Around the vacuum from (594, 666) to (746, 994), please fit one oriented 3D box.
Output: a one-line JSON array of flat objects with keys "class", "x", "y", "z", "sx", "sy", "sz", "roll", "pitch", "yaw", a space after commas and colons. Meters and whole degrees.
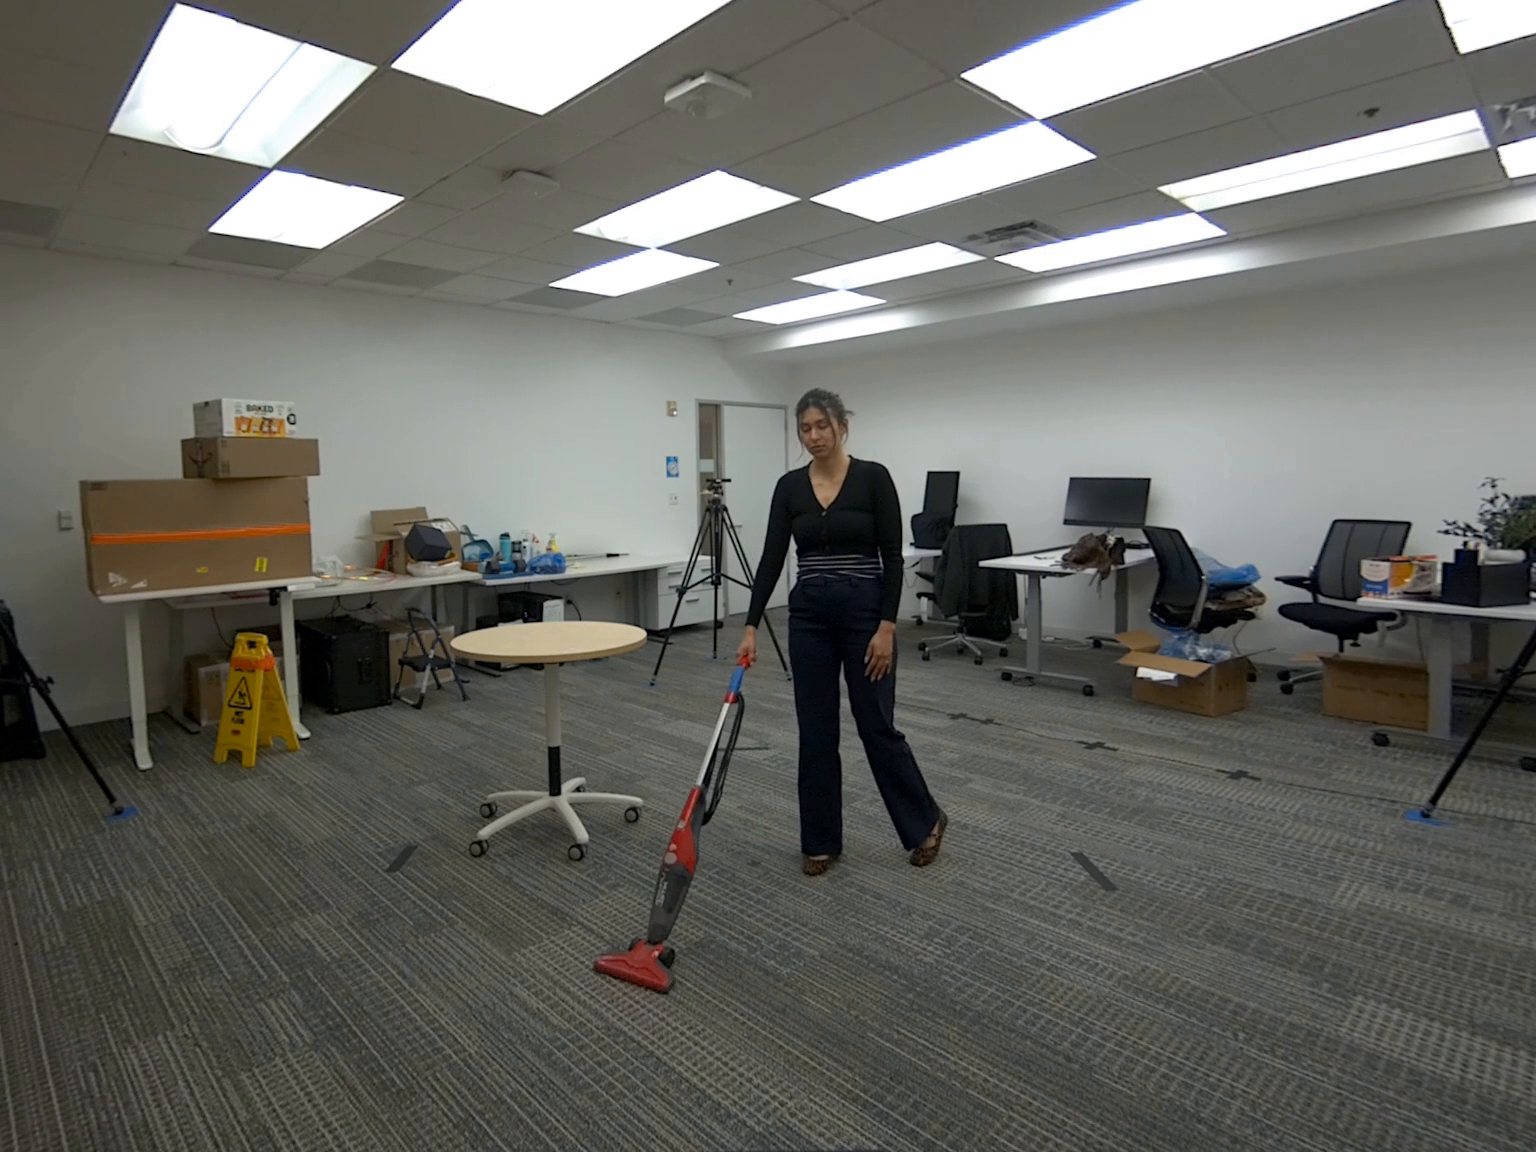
[{"class": "vacuum", "x": -0.201, "y": 0.697, "z": 2.723, "sx": 0.259, "sy": 1.063, "sz": 0.138, "roll": 0, "pitch": -38, "yaw": 30}]
